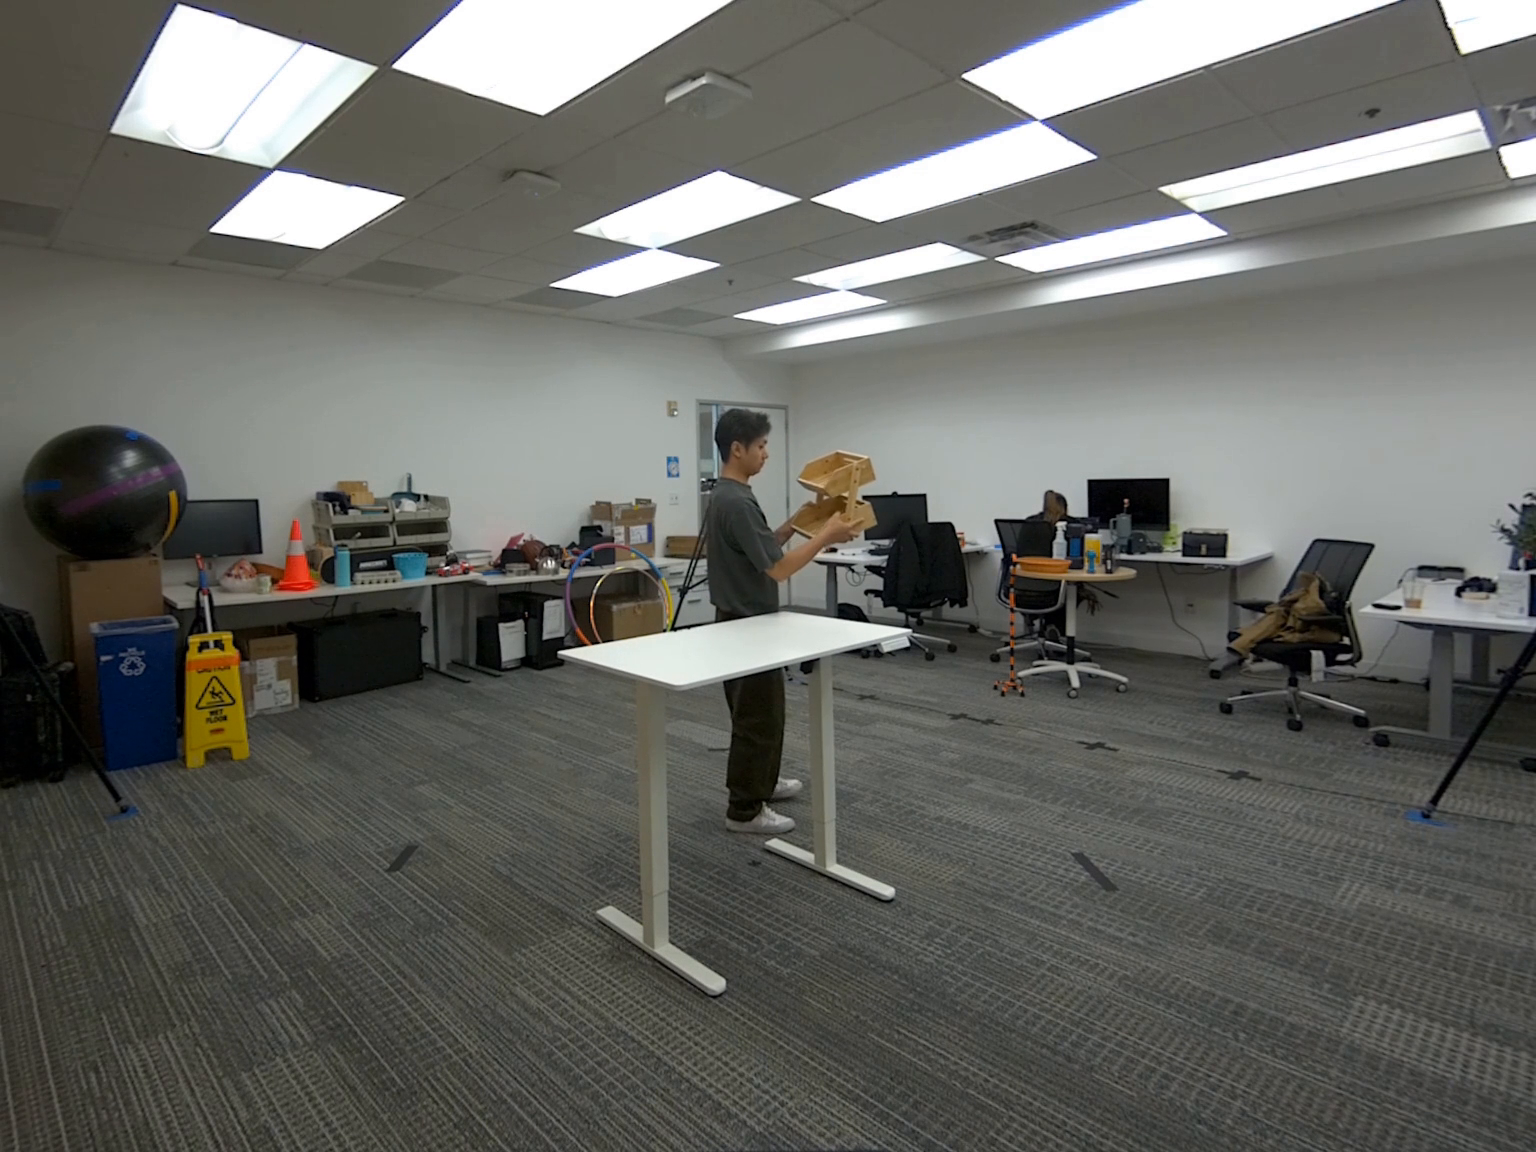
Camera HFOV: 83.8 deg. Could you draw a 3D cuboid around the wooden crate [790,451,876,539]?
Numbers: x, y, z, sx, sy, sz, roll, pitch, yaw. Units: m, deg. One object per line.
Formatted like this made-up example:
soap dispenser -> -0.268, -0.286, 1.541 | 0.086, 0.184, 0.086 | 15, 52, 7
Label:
wooden crate -> 0.235, -0.313, 3.379 | 0.300, 0.268, 0.333 | -23, 18, -12
